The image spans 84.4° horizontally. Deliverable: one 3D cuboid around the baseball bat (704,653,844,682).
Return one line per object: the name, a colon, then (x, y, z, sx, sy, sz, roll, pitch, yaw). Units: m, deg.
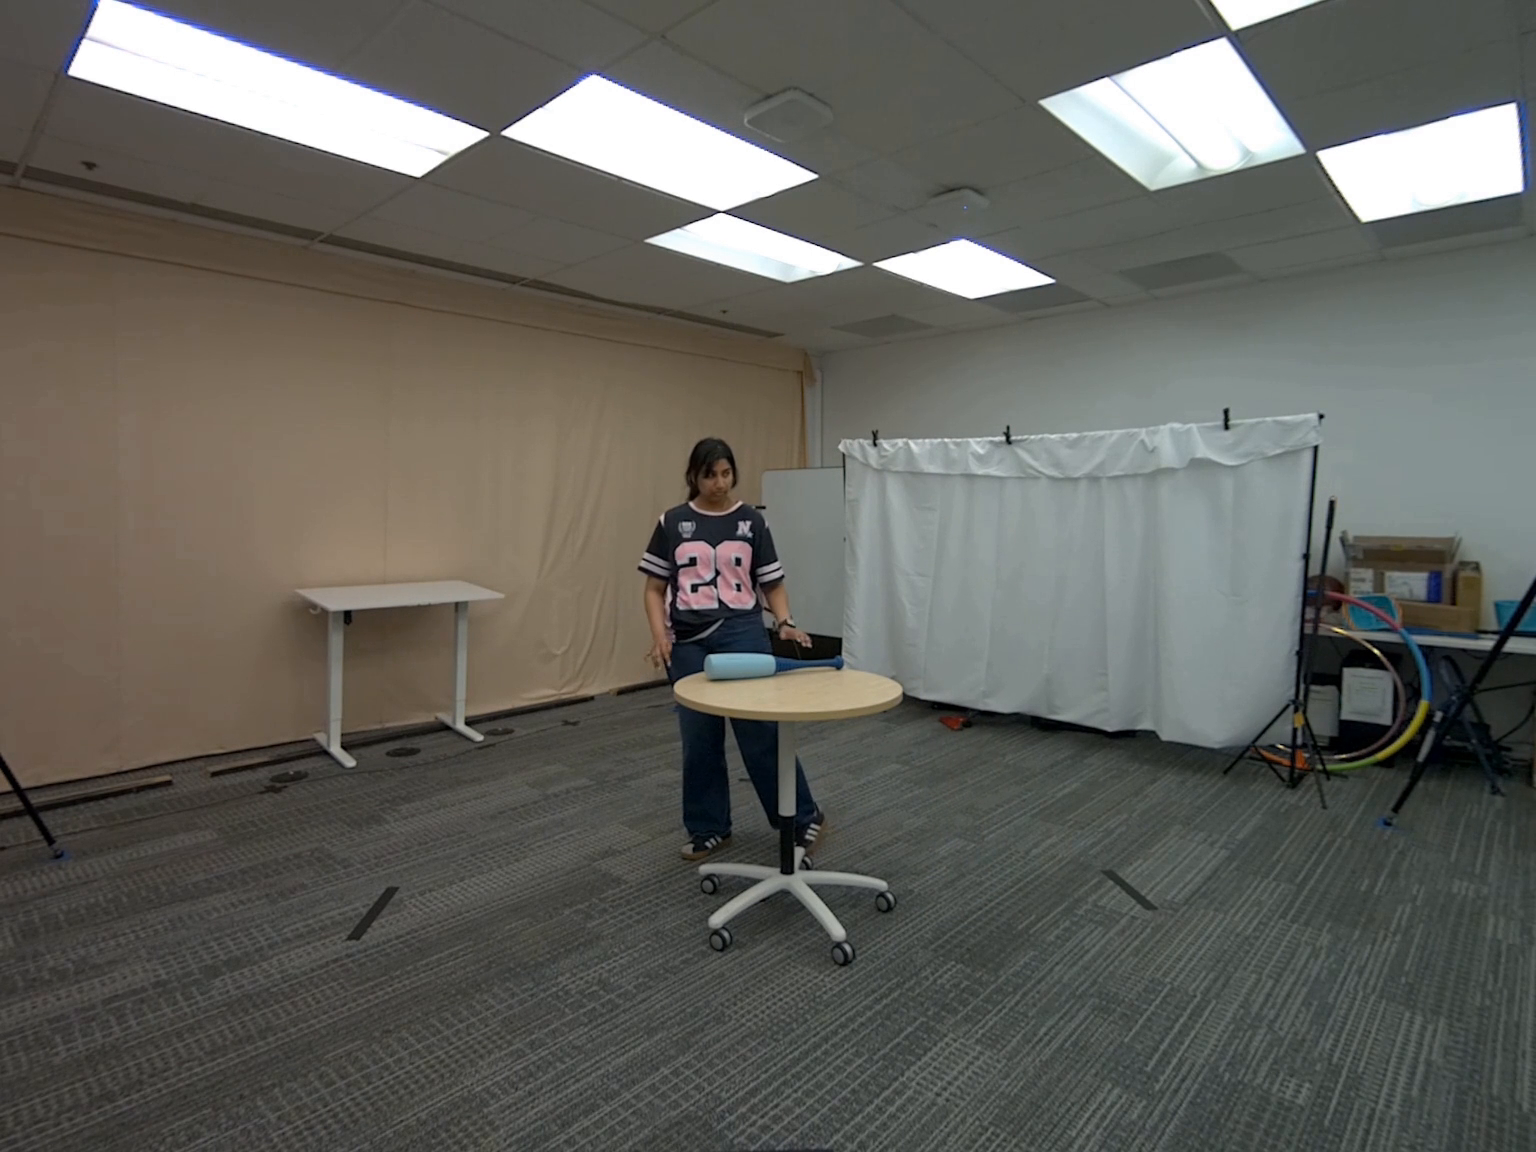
baseball bat: (0.035, 0.322, 3.029, 0.531, 0.089, 0.091, 2, 3, -21)
